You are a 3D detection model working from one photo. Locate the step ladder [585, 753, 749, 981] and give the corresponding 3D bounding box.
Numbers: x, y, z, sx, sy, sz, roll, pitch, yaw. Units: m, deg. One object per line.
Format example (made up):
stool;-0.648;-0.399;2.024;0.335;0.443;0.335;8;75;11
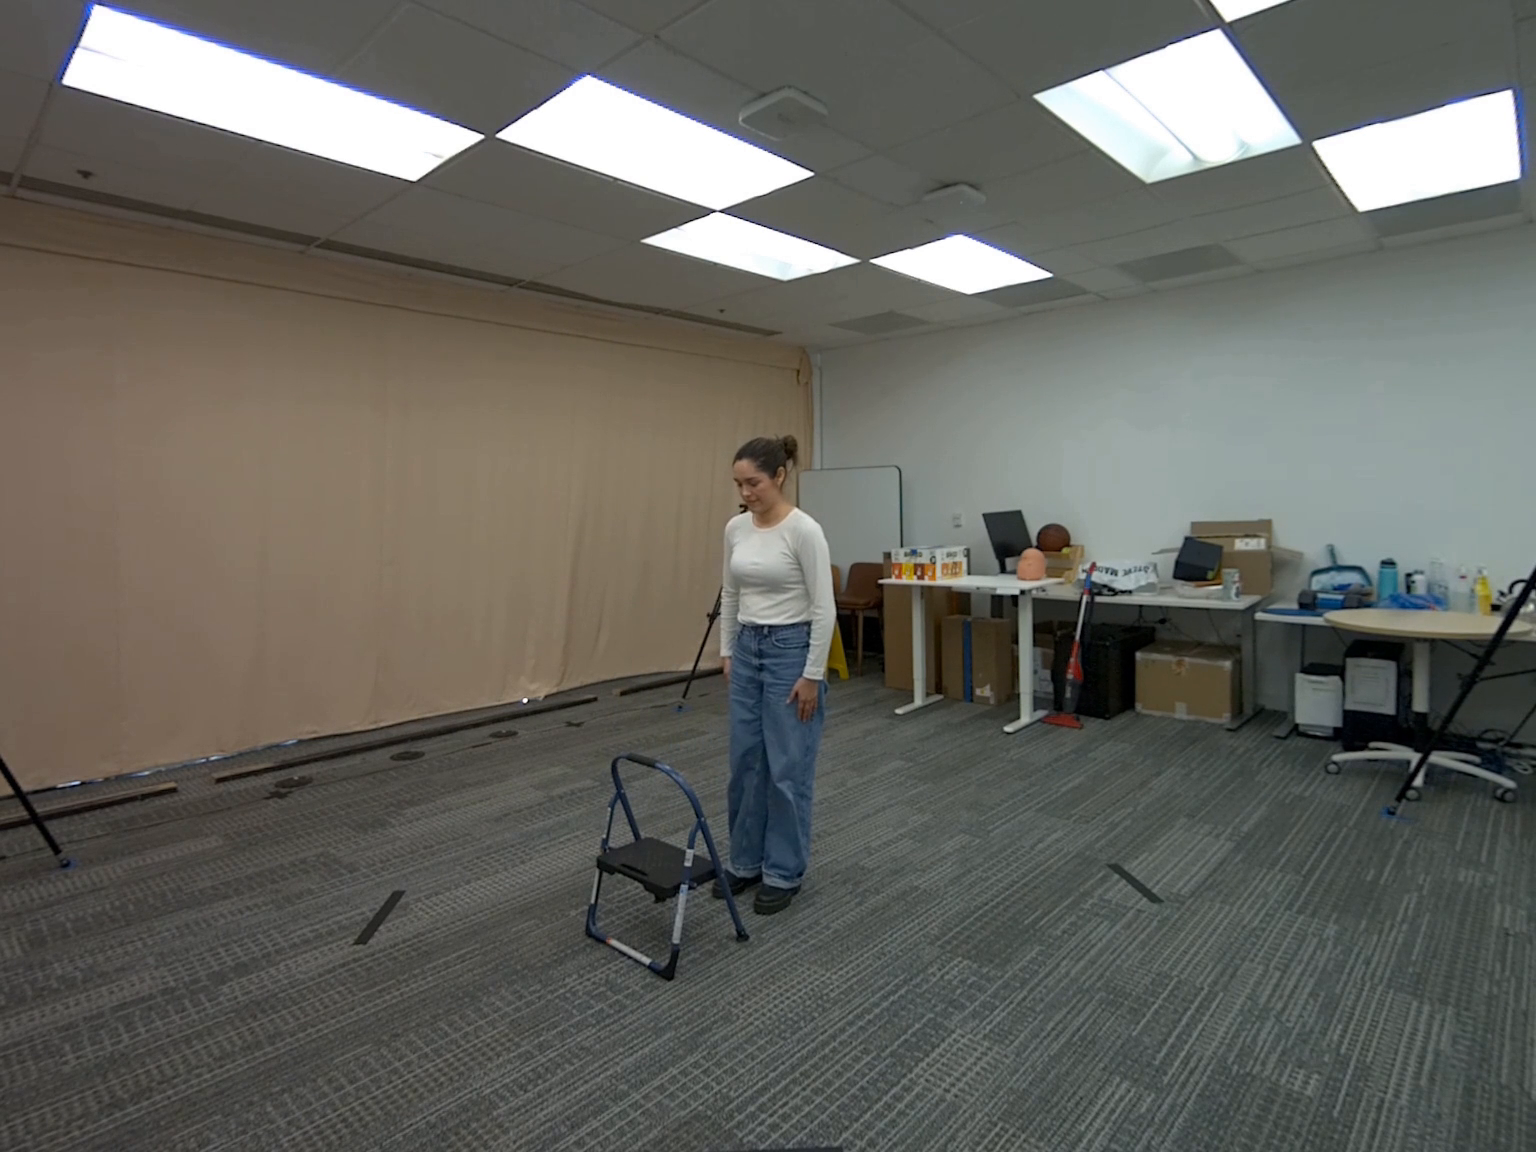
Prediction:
step ladder;-0.334;0.866;2.717;0.445;0.605;0.338;2;3;42
